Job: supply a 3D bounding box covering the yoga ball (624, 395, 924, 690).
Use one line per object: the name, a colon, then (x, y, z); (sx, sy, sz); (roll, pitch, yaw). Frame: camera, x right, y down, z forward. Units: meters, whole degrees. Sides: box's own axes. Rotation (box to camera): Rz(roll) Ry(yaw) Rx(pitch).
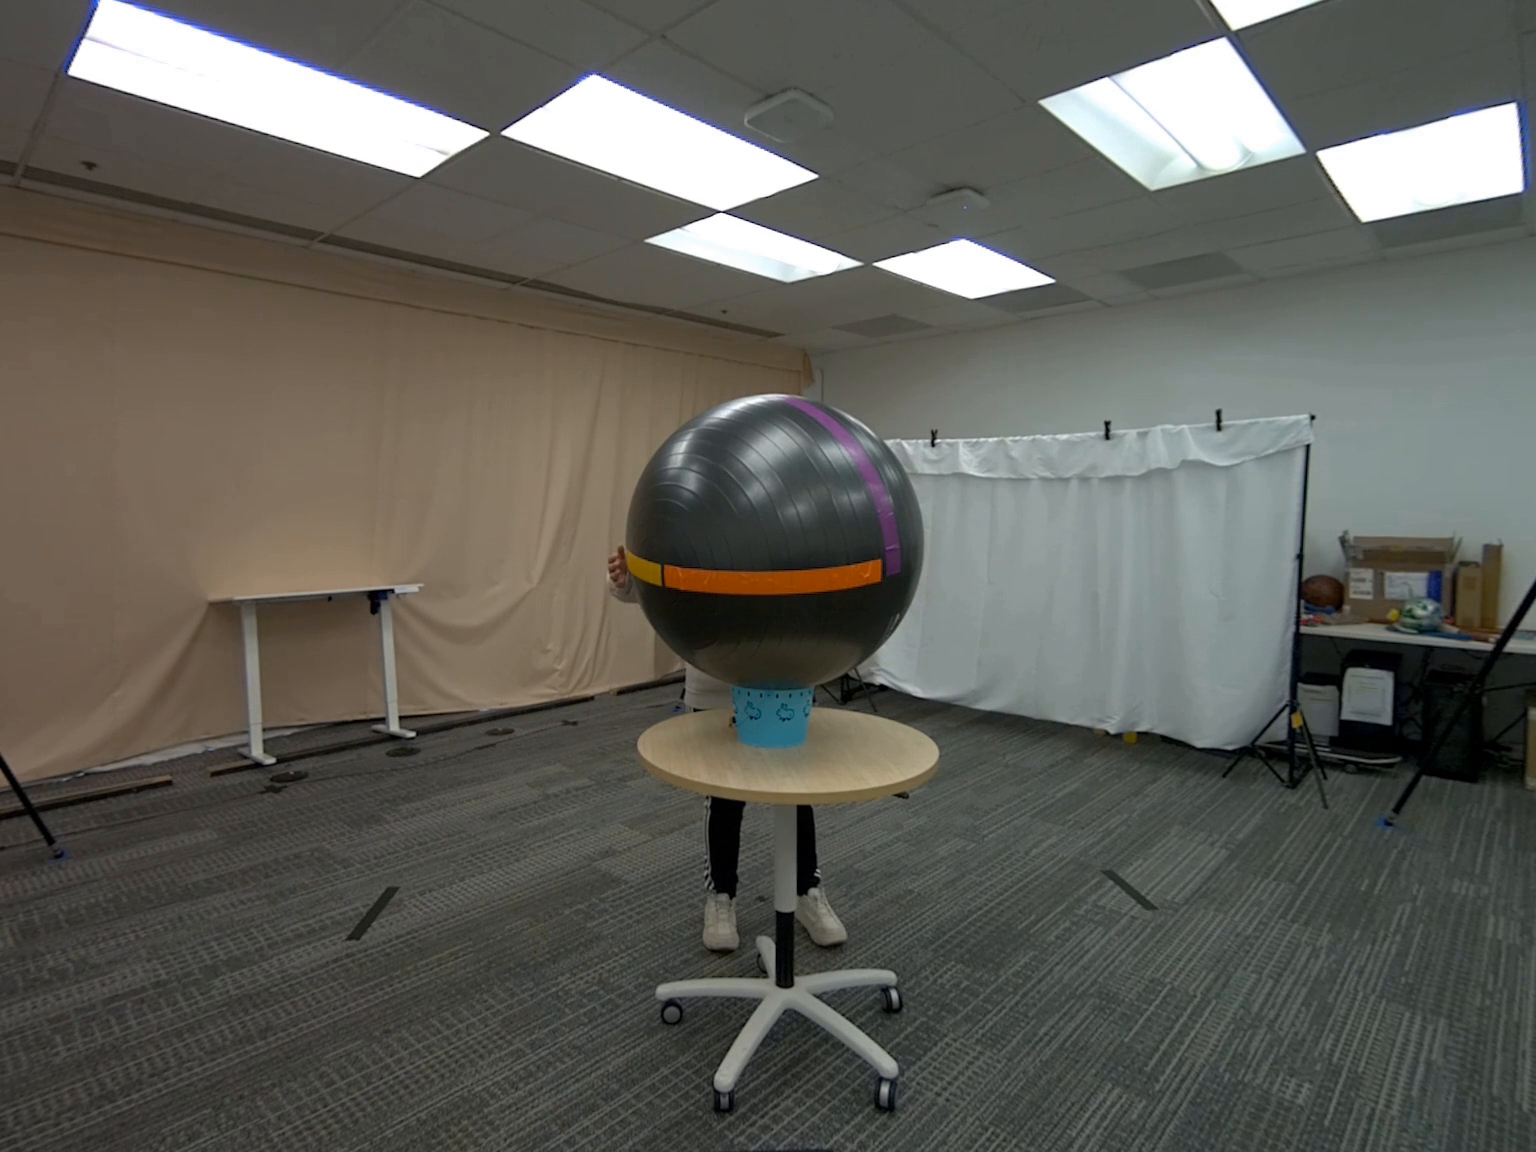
yoga ball: (0.013, -0.081, 2.163); (0.757, 0.756, 0.761); (0, 4, -2)
